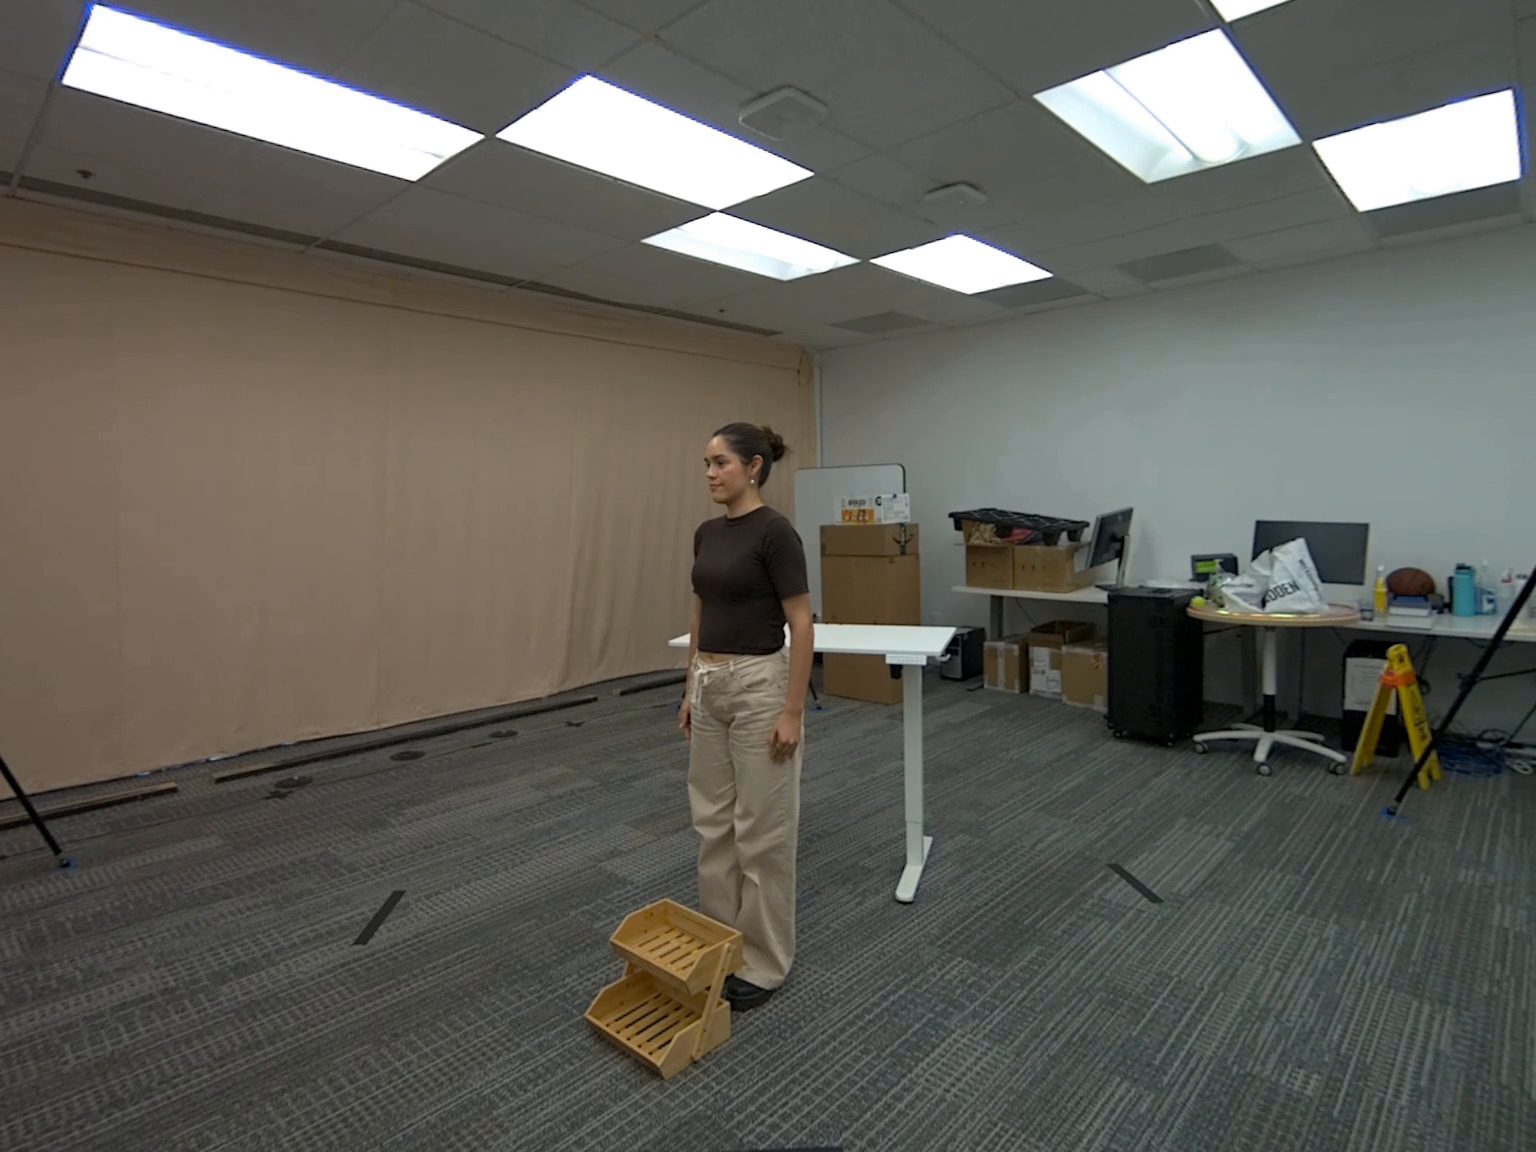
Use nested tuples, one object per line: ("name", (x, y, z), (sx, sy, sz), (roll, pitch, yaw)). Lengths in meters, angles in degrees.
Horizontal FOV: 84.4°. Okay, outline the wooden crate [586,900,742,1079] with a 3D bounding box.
("wooden crate", (-0.278, 1.082, 2.225), (0.335, 0.273, 0.293), (3, 4, 43))
